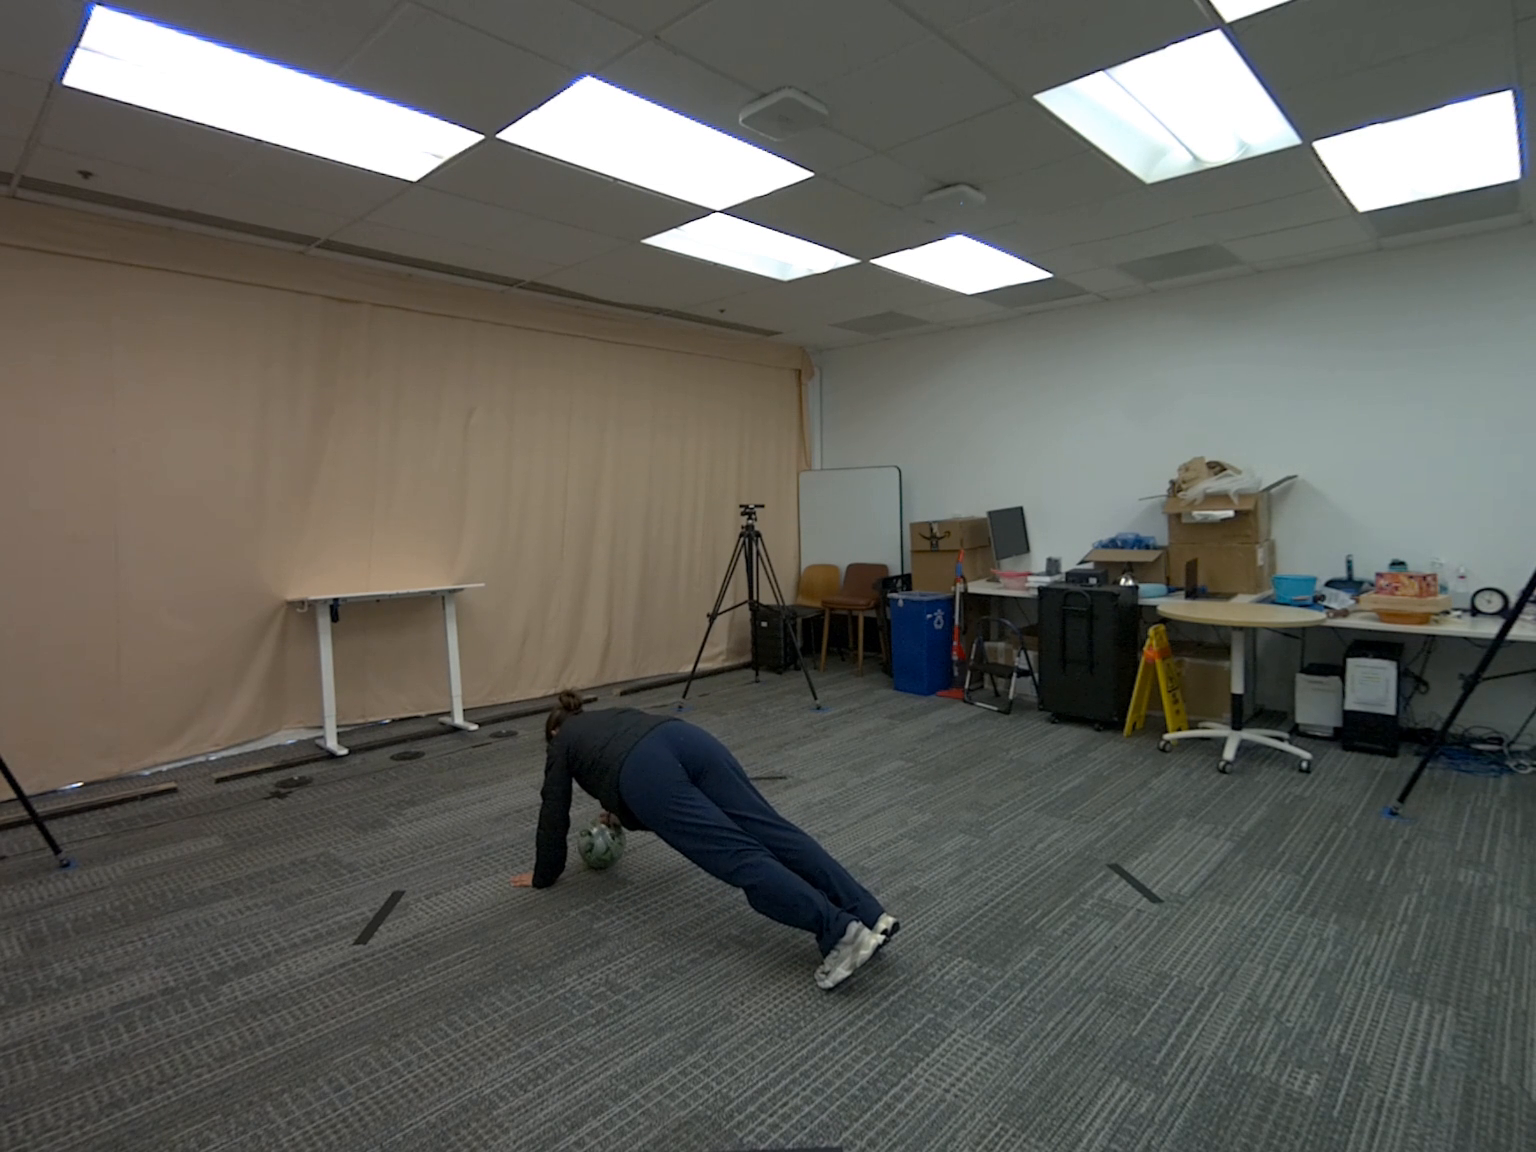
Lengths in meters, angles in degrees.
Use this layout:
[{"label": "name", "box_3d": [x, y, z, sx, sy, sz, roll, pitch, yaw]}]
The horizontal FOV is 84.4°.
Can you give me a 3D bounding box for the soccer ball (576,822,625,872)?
[{"label": "soccer ball", "box_3d": [-0.648, 1.044, 3.262, 0.187, 0.187, 0.188, -1, 4, -2]}]
